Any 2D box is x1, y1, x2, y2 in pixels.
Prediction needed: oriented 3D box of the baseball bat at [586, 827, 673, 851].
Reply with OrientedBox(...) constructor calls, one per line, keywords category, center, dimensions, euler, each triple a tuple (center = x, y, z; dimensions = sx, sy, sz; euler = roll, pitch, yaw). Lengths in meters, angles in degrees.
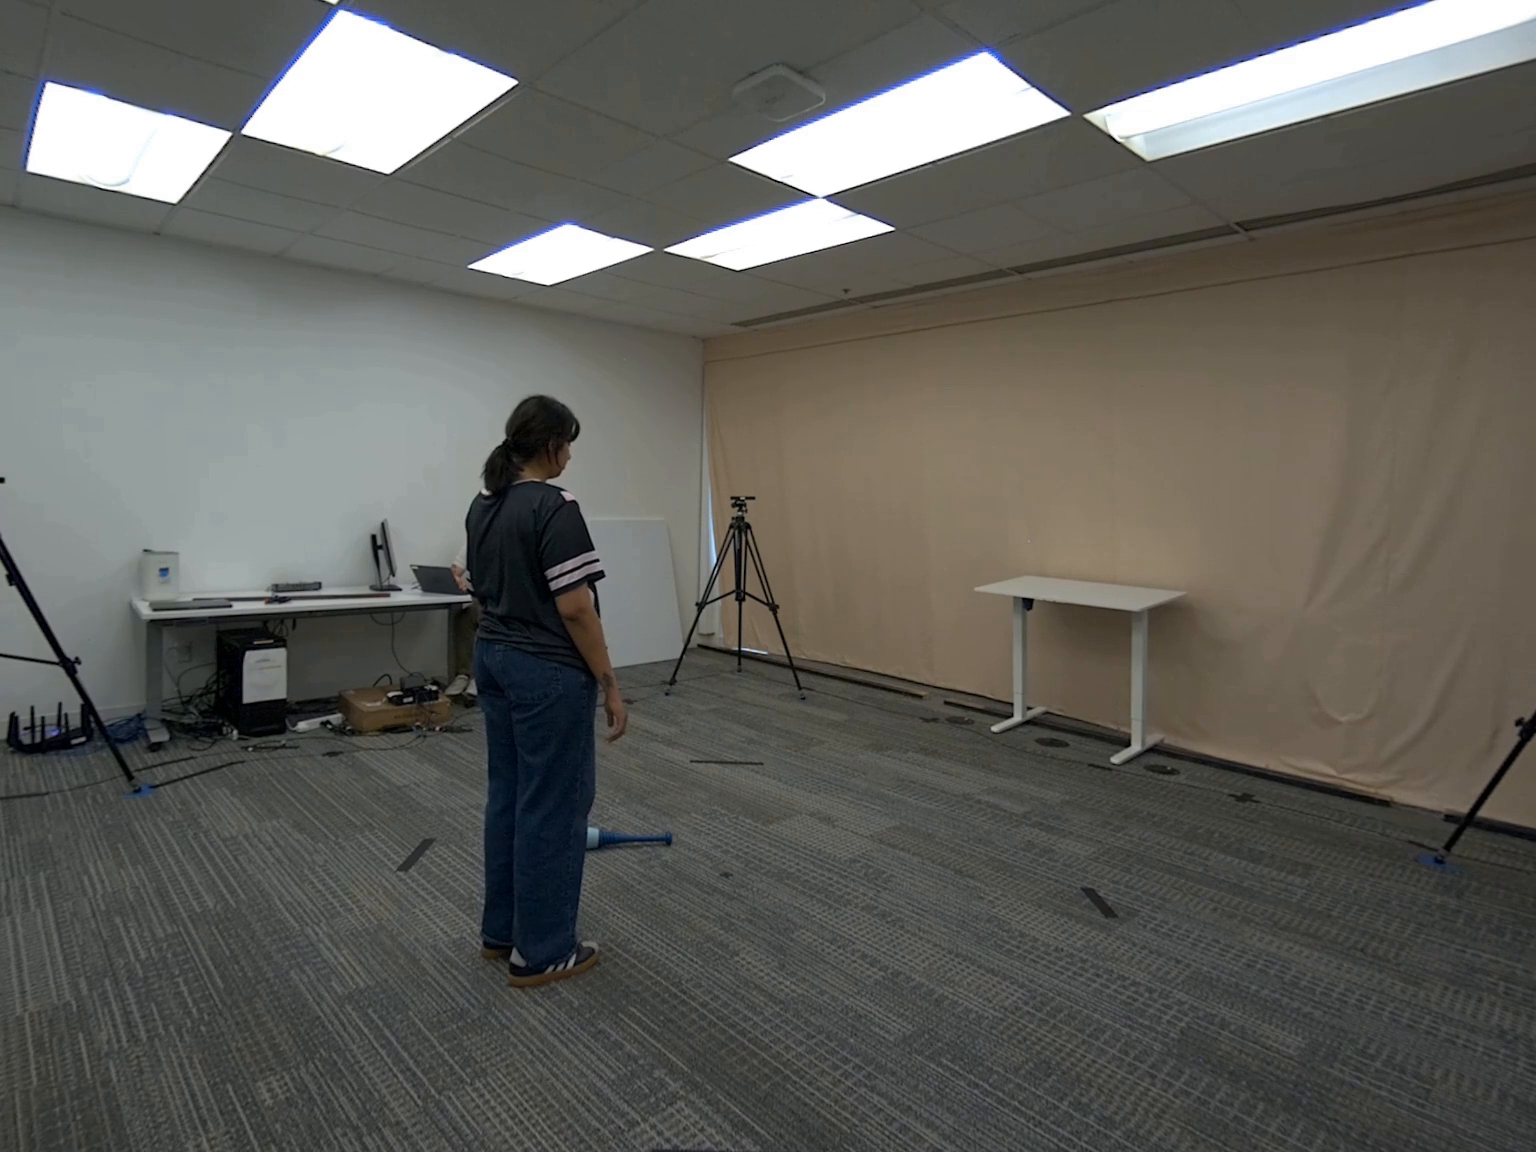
OrientedBox(category="baseball bat", center=(-0.659, 1.039, 3.324), dimensions=(0.538, 0.089, 0.090), euler=(4, 4, -10))
